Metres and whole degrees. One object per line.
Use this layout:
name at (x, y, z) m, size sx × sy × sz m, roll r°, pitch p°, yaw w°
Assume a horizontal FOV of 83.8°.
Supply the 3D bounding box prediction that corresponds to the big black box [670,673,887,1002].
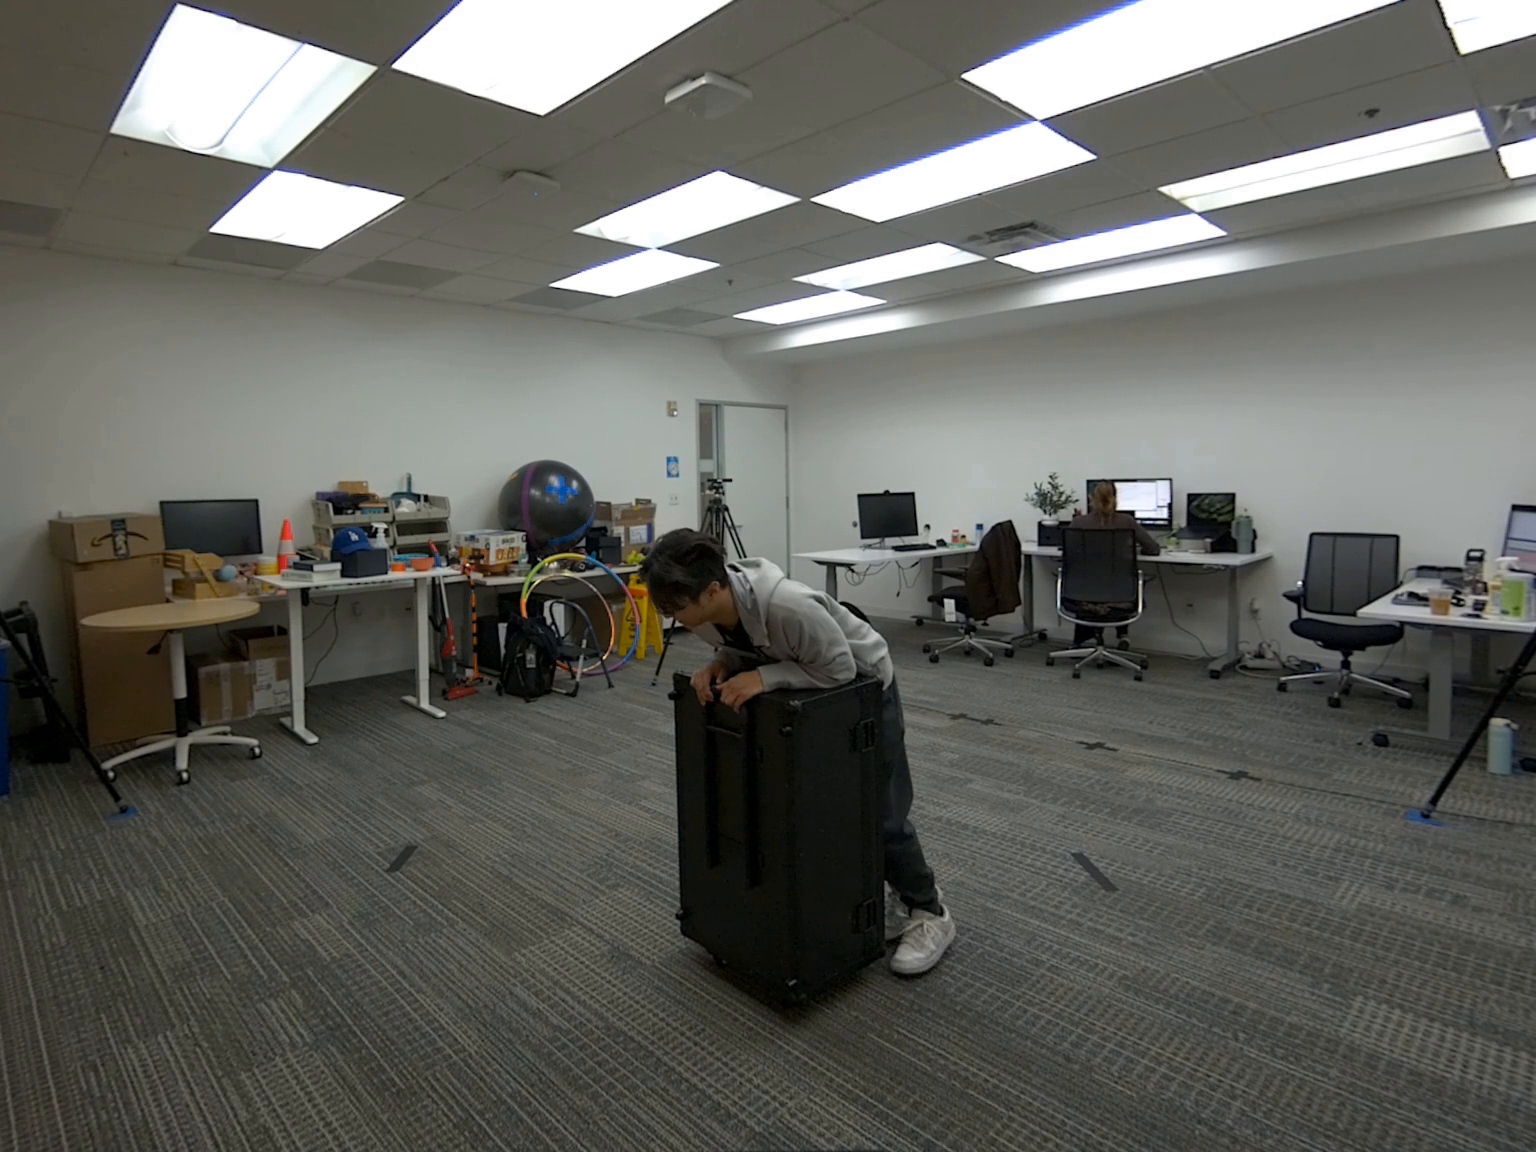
big black box at (0.027, 0.706, 2.401) m, size 0.386 × 0.858 × 0.537 m, roll -6°, pitch 6°, yaw -41°
